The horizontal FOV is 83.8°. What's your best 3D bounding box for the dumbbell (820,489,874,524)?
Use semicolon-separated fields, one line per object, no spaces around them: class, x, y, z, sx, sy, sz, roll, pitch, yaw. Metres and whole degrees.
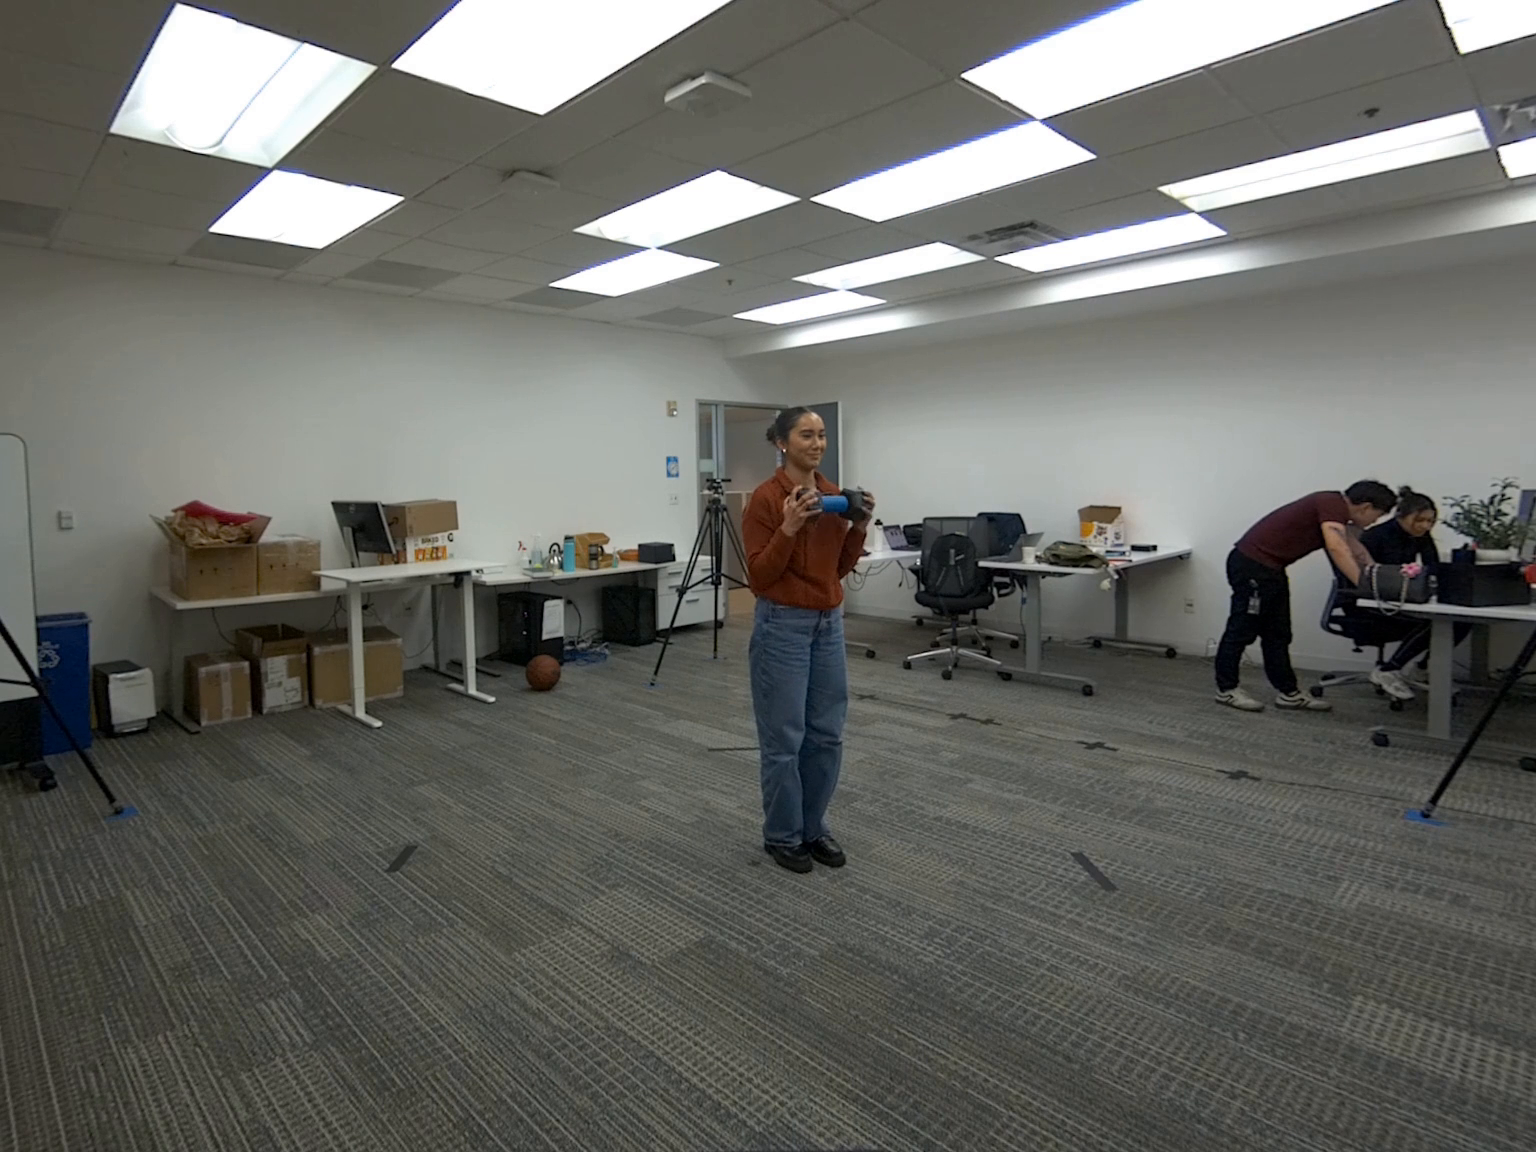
dumbbell;0.210;-0.232;2.967;0.286;0.112;0.122;-2;-39;-33
